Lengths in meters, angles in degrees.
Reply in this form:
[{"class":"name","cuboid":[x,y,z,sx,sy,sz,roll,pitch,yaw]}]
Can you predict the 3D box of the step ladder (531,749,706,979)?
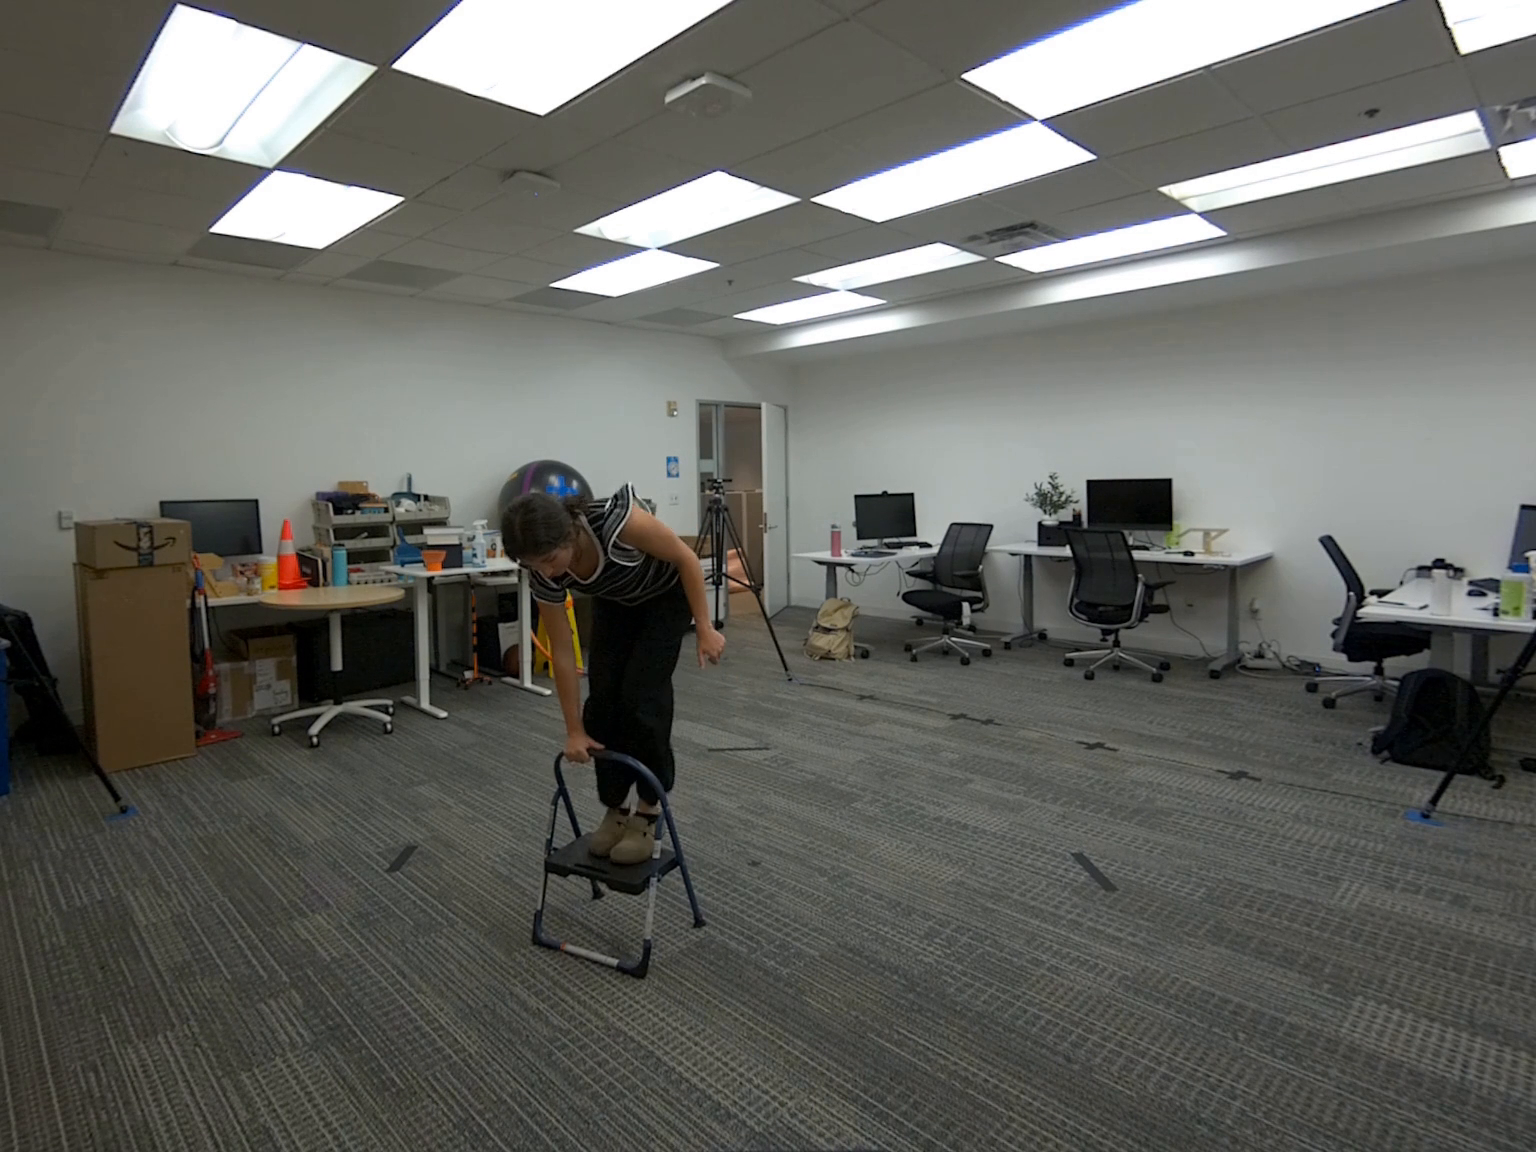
[{"class":"step ladder","cuboid":[-0.465,0.808,2.625,0.441,0.603,0.342,1,5,27]}]
